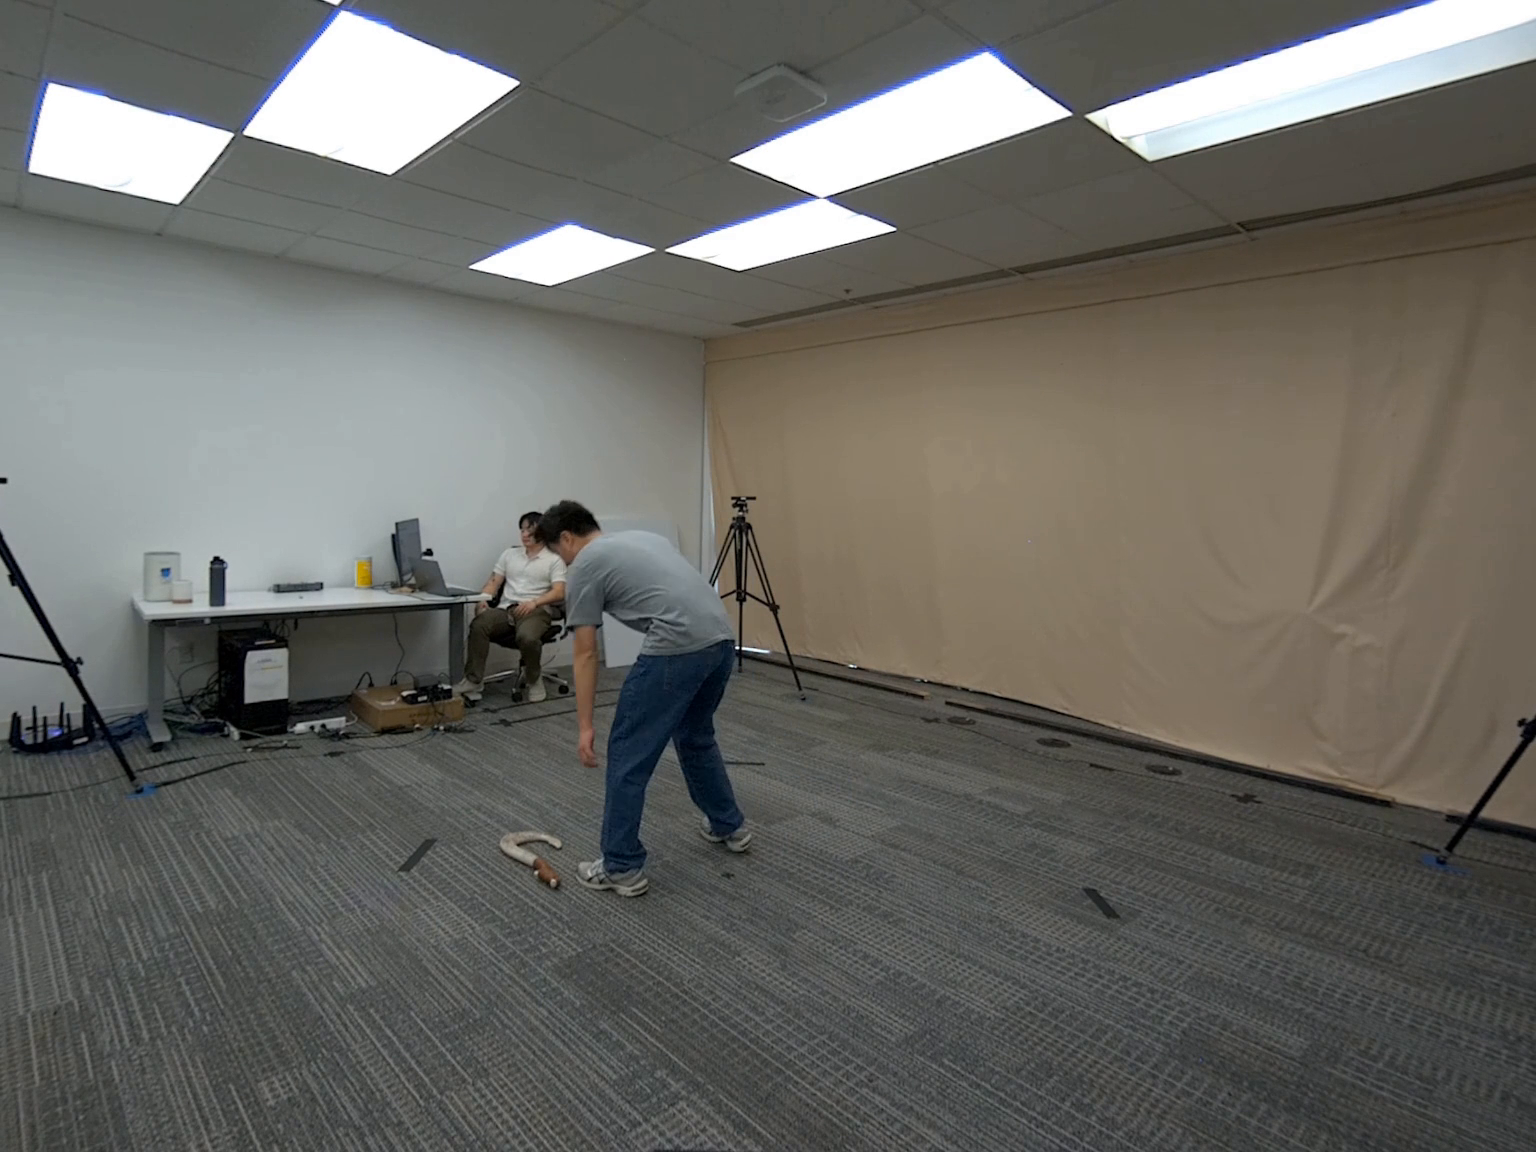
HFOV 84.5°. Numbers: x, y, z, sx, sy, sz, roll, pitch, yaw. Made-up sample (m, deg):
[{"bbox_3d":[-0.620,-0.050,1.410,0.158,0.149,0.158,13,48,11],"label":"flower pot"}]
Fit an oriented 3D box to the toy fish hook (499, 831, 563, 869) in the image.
[{"bbox_3d":[-0.852,1.057,3.183,0.220,0.048,0.519,-3,7,-35],"label":"toy fish hook"}]
